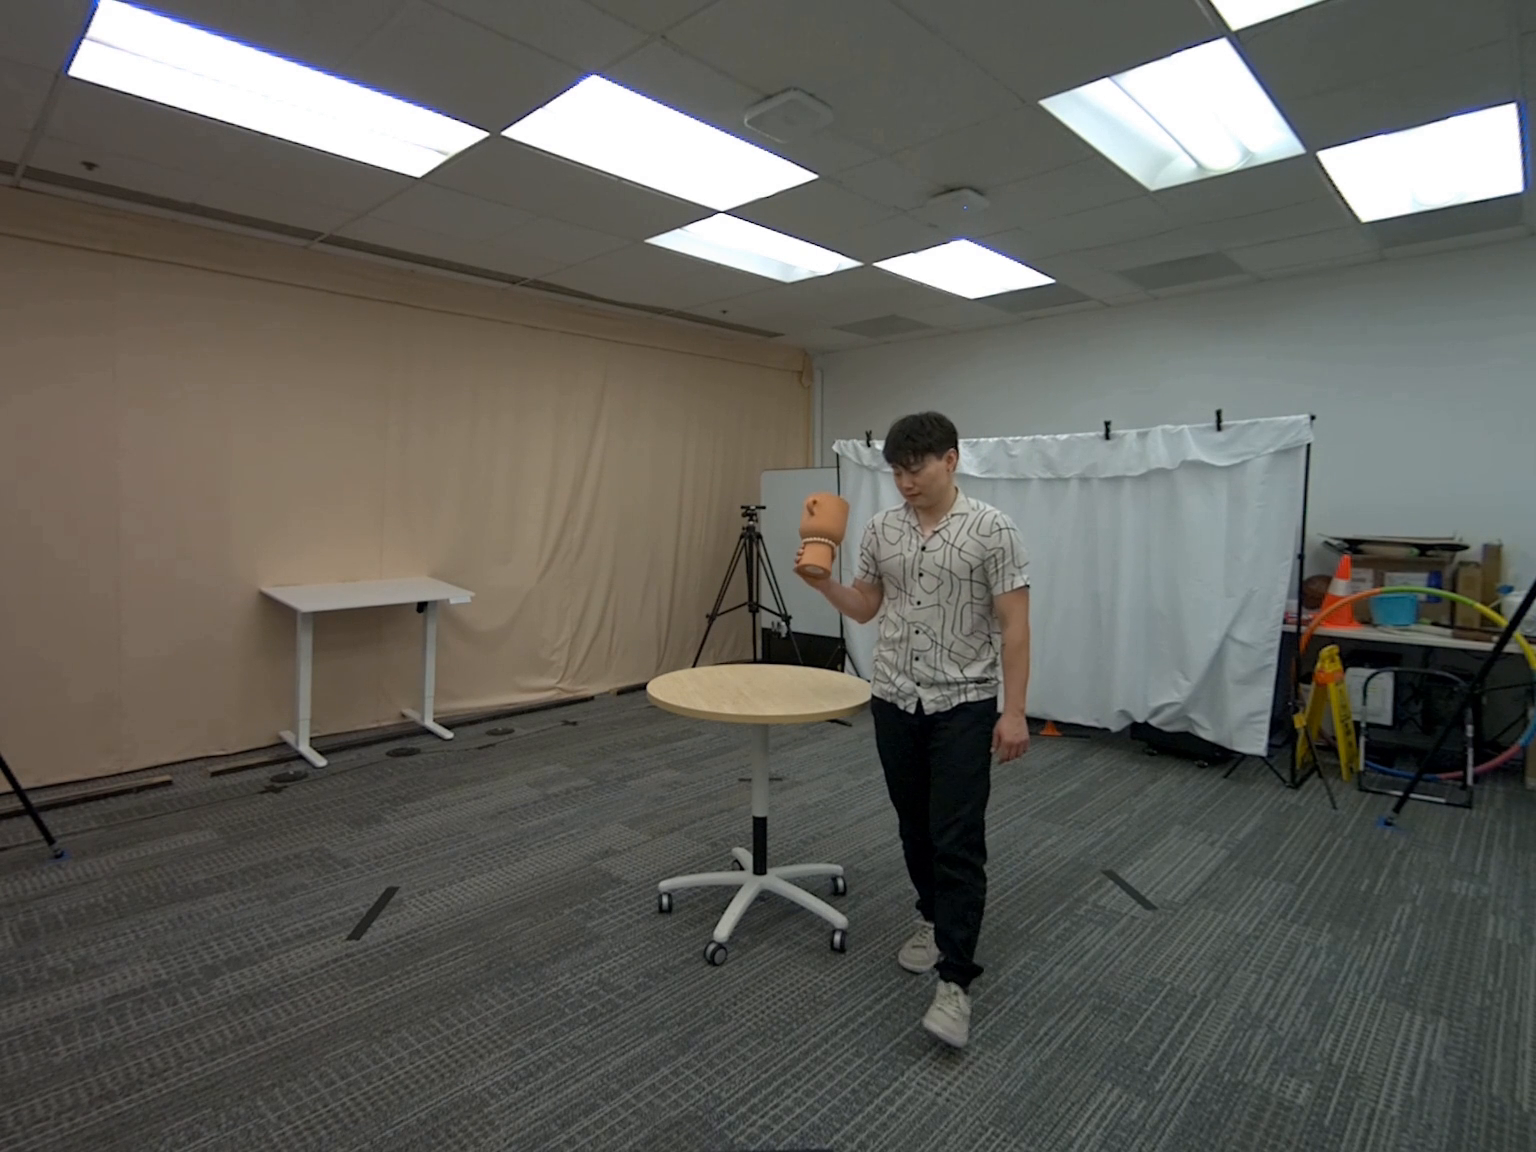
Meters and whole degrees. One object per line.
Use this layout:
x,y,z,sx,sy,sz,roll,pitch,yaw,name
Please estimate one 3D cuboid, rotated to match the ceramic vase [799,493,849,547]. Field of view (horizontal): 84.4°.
0.168,-0.115,2.439,0.157,0.221,0.135,18,-20,-11,ceramic vase
